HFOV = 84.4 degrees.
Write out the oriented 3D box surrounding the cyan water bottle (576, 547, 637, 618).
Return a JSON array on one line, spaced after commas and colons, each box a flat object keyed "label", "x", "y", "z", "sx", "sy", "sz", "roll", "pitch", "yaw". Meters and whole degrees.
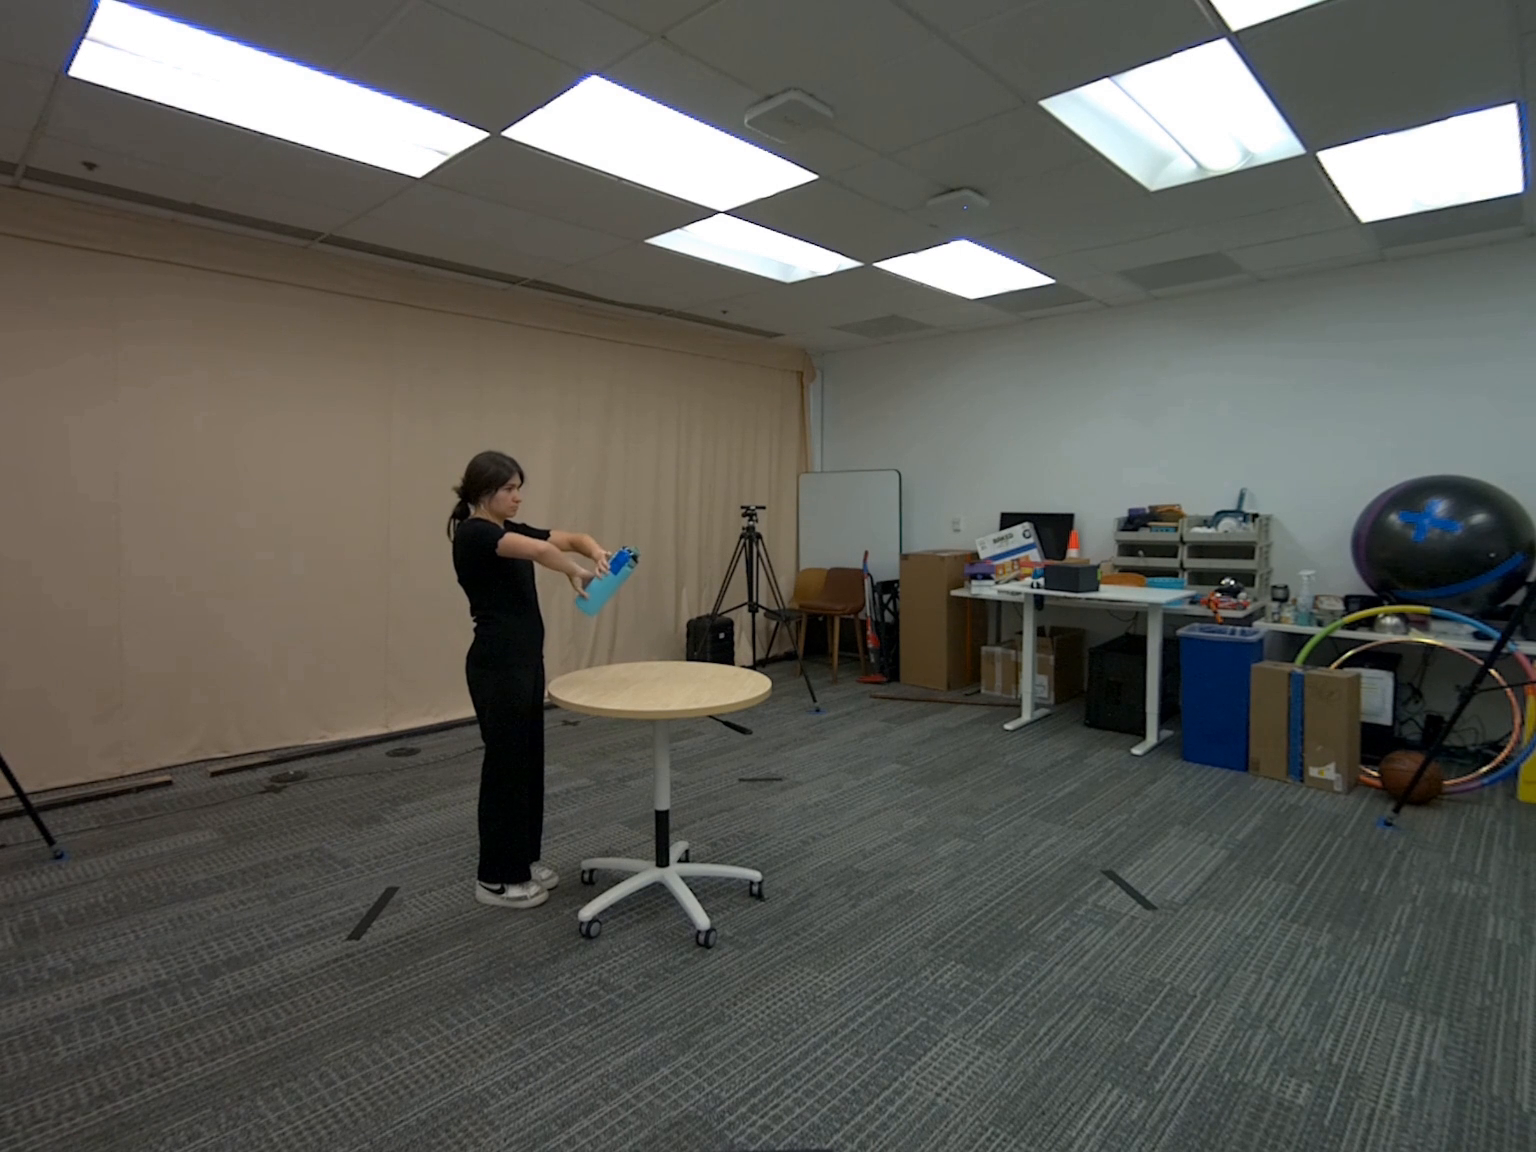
[{"label": "cyan water bottle", "x": -0.557, "y": 0.011, "z": 2.953, "sx": 0.092, "sy": 0.284, "sz": 0.093, "roll": 42, "pitch": 5, "yaw": -6}]
